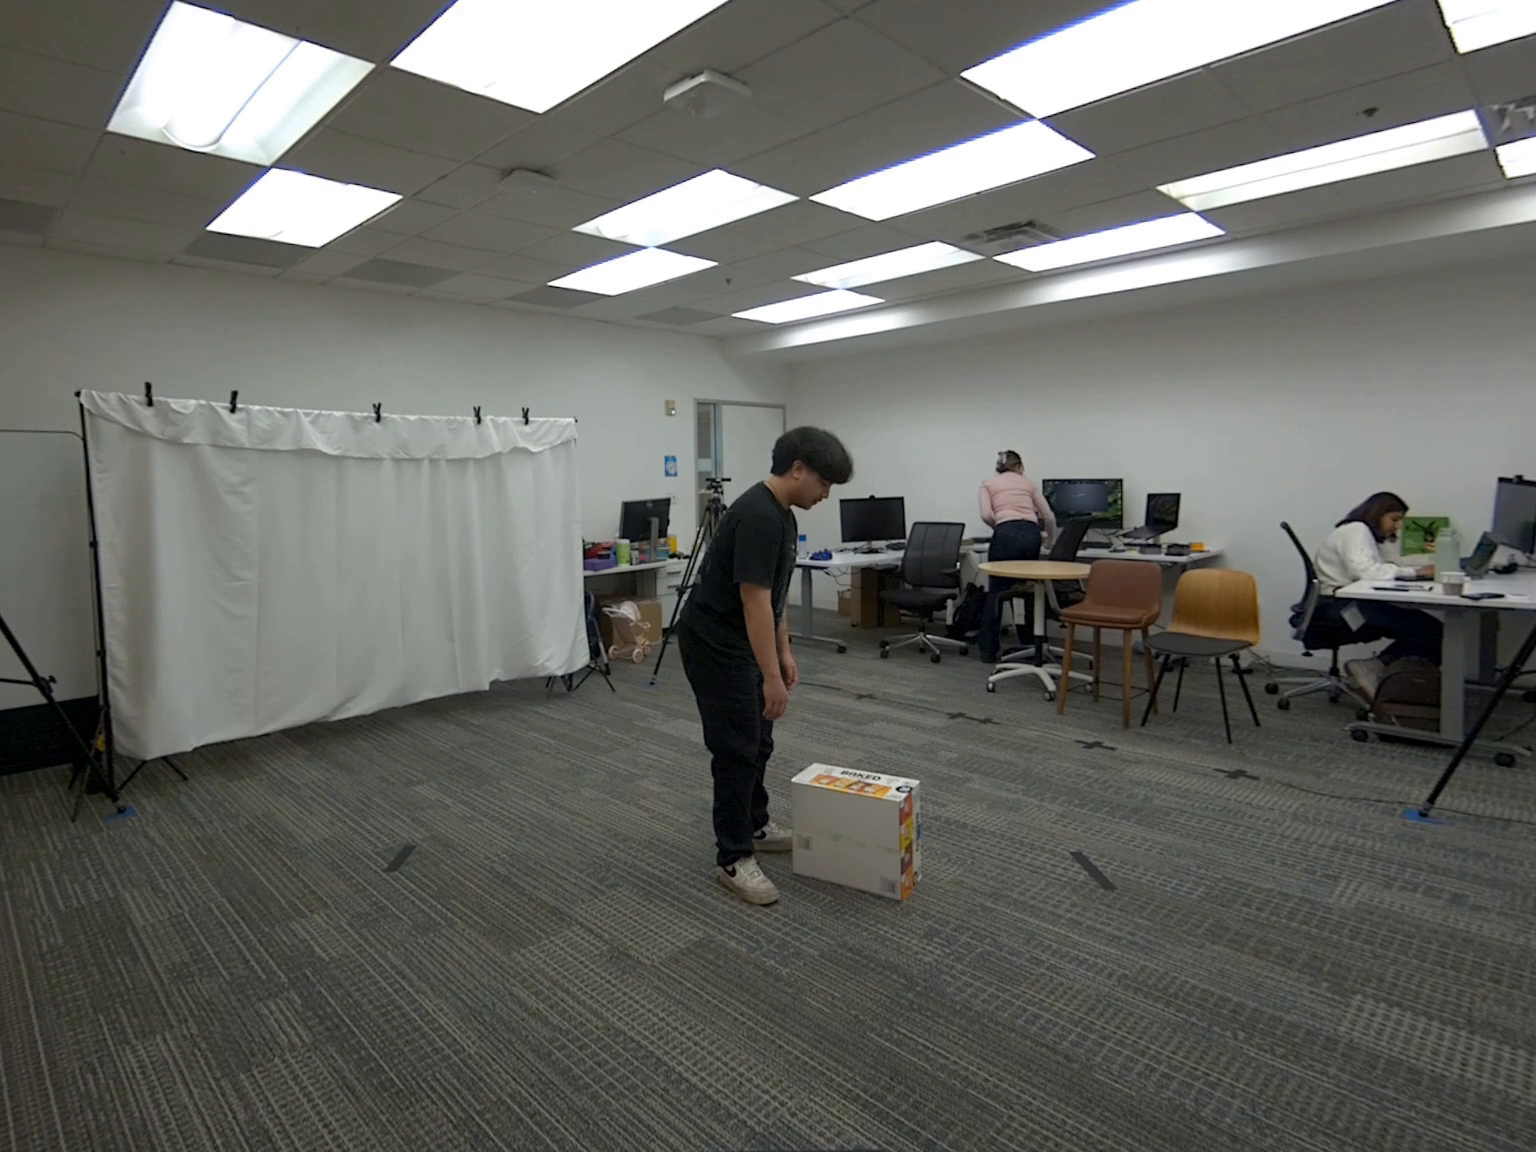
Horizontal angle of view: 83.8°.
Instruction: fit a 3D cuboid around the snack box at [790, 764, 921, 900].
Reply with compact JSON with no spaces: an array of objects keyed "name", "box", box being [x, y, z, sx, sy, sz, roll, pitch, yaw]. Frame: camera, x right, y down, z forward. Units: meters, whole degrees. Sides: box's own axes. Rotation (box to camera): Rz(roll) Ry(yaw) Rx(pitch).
[{"name":"snack box","box":[0.308,0.877,2.980,0.416,0.339,0.201,1,5,30]}]
